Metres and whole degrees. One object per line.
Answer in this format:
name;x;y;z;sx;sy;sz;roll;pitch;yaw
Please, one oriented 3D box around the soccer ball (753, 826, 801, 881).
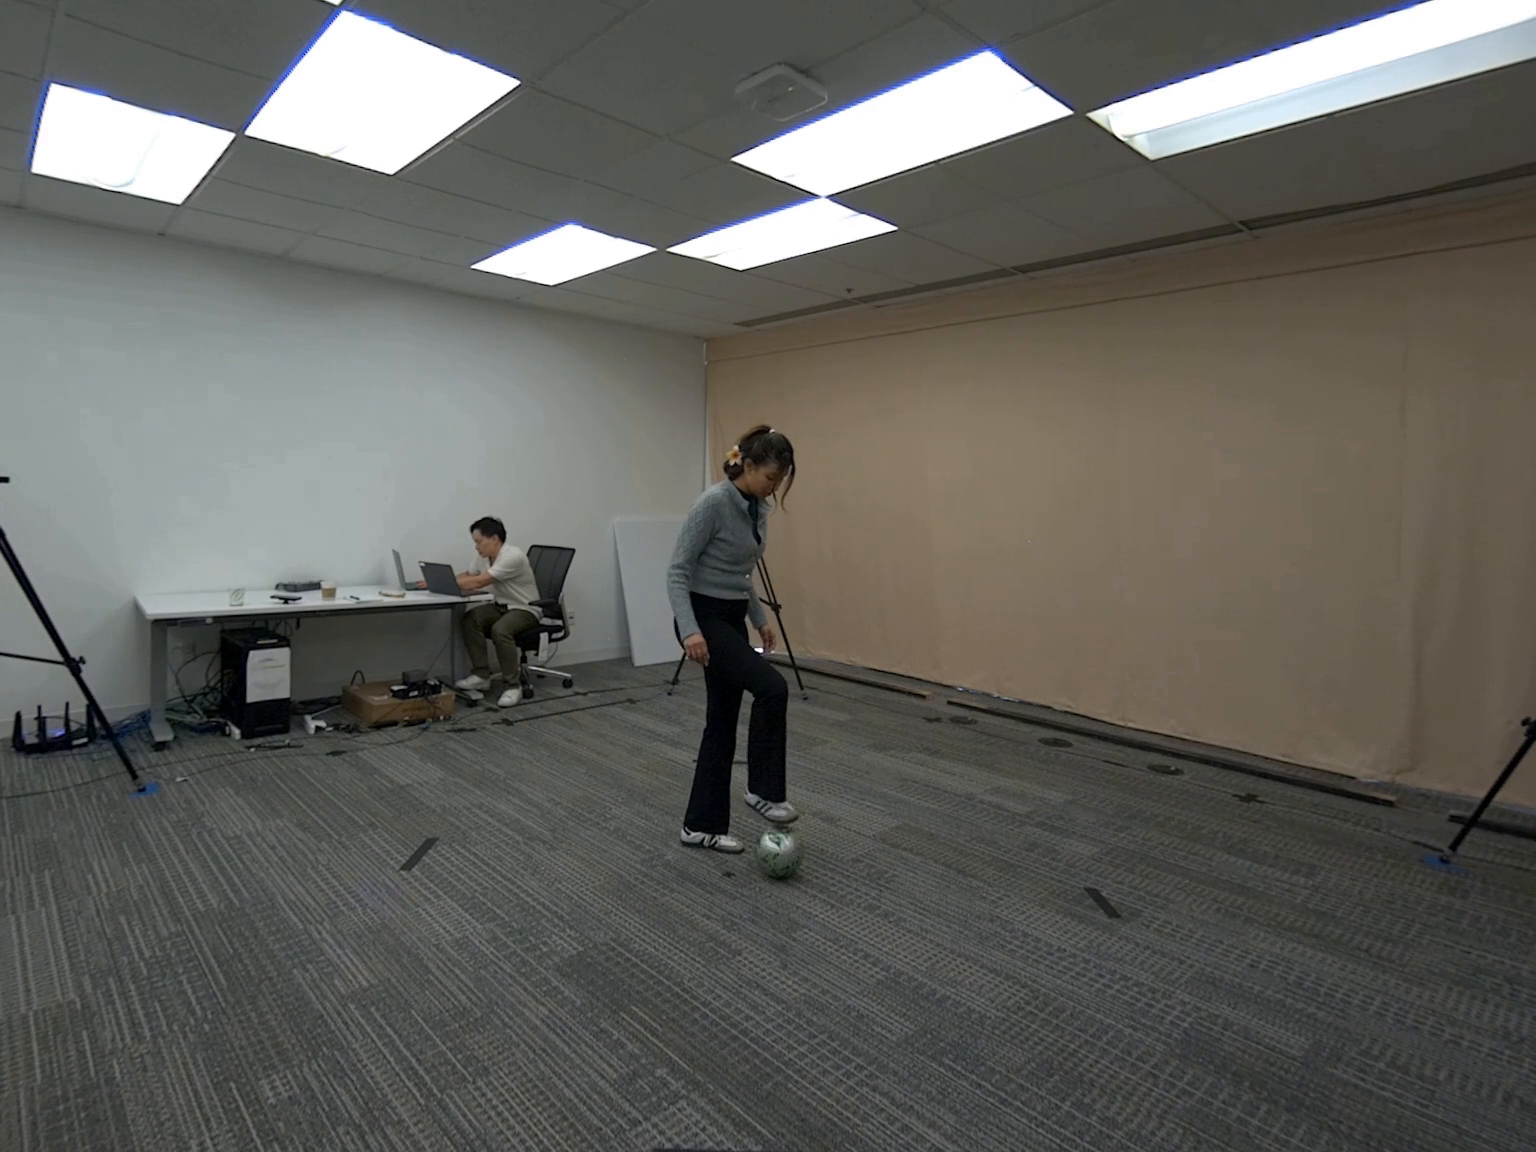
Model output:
soccer ball;0.026;1.006;3.090;0.187;0.187;0.188;1;4;-1
